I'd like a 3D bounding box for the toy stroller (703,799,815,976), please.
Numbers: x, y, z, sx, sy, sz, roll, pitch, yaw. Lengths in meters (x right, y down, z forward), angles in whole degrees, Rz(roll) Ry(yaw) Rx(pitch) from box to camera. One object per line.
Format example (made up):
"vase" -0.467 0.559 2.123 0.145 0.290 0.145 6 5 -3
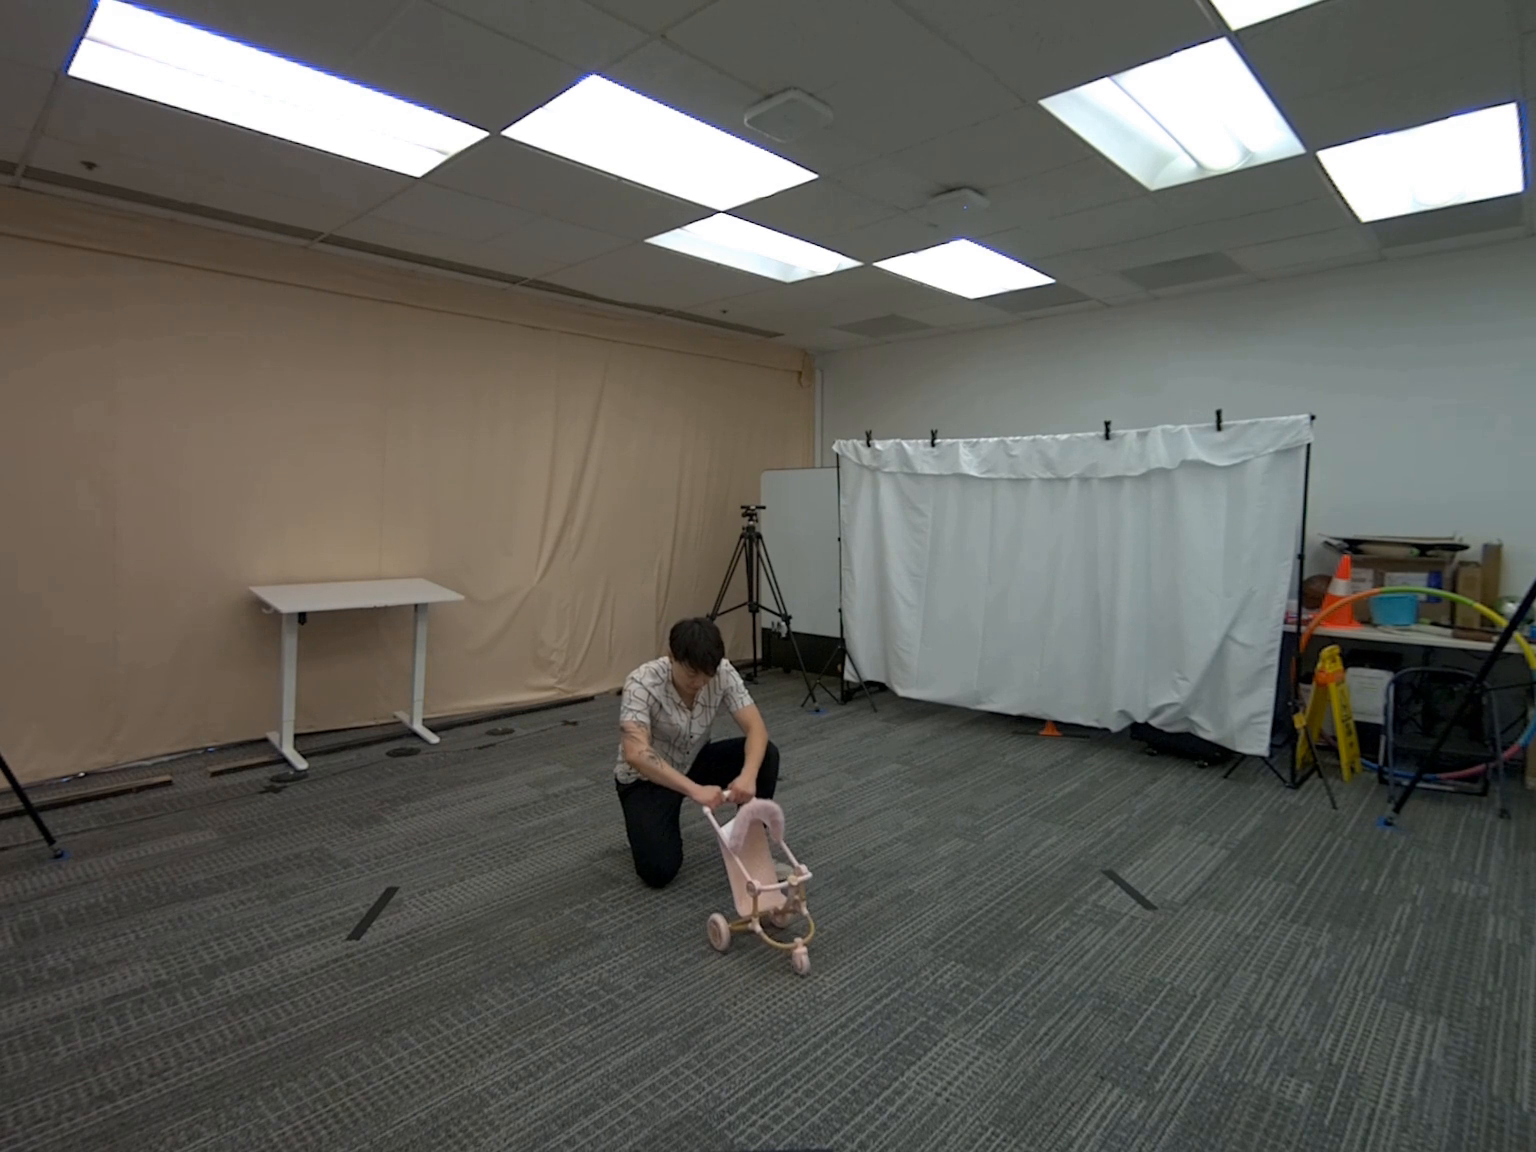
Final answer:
"toy stroller" -0.019 0.943 2.656 0.273 0.539 0.348 -2 -12 -33
